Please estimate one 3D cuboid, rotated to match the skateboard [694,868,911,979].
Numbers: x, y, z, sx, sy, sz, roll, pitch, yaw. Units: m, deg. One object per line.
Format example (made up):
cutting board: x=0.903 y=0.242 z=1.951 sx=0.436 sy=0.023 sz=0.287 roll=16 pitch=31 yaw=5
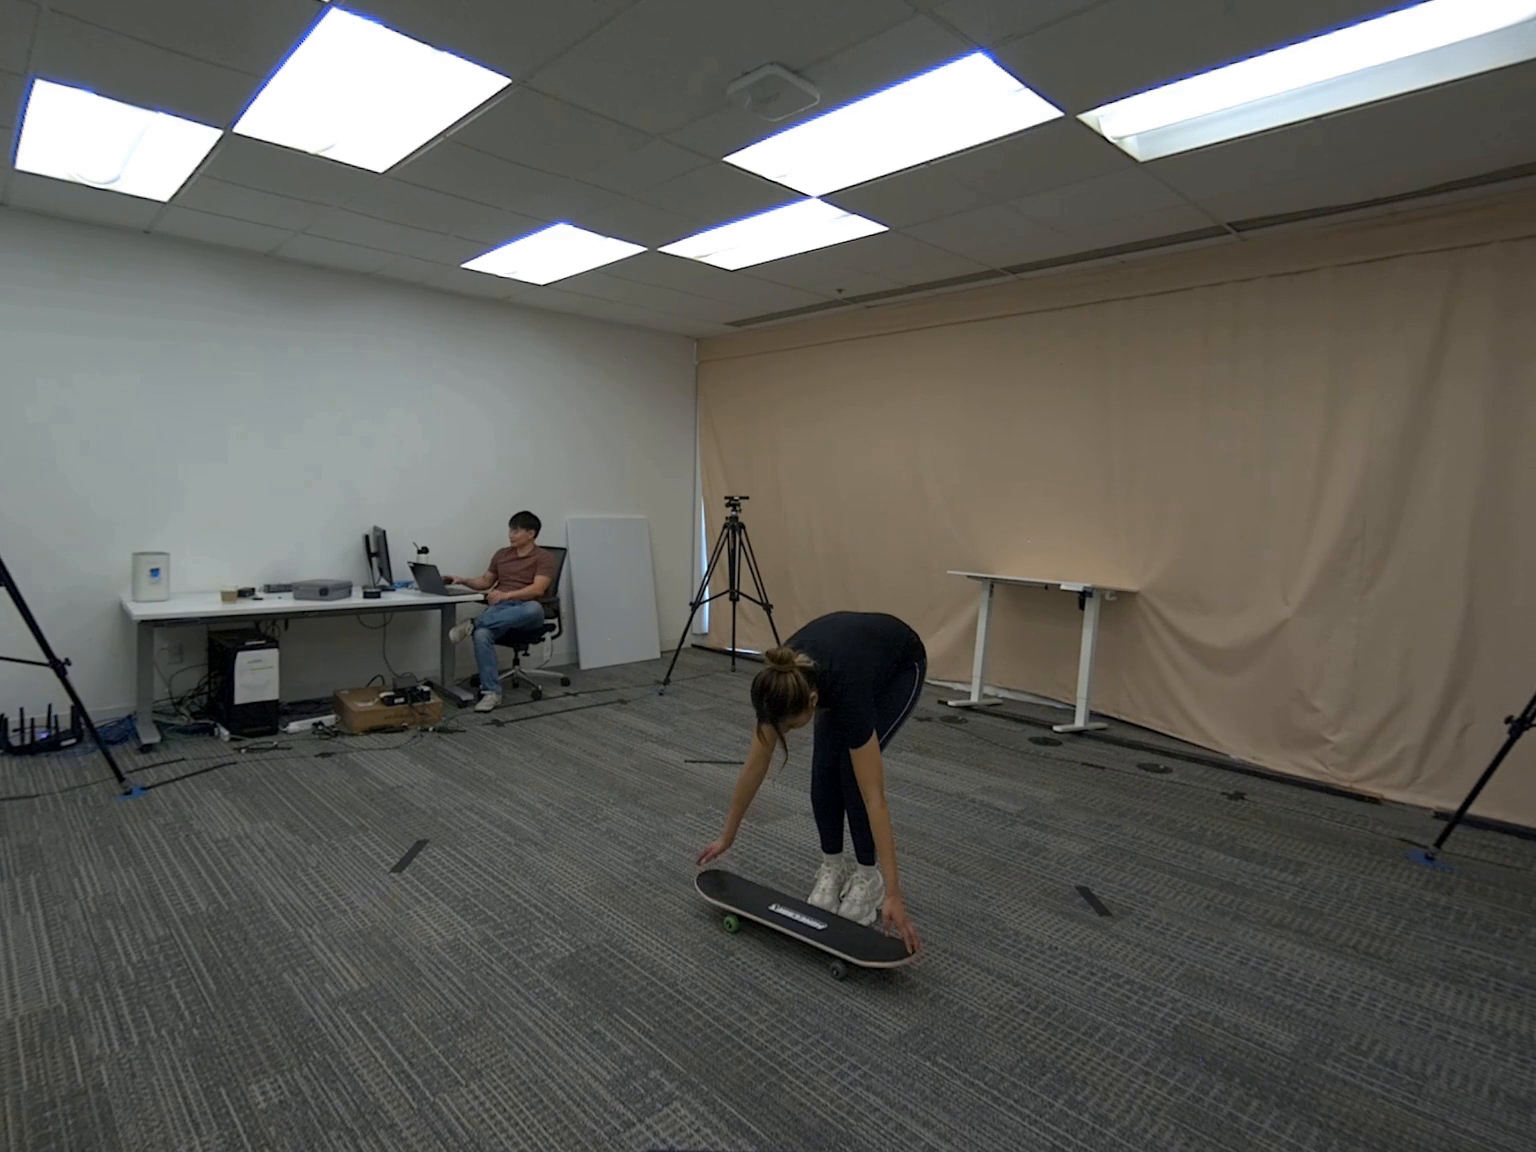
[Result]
skateboard: x=0.082 y=1.099 z=2.632 sx=0.805 sy=0.110 sz=0.189 roll=6 pitch=5 yaw=37
